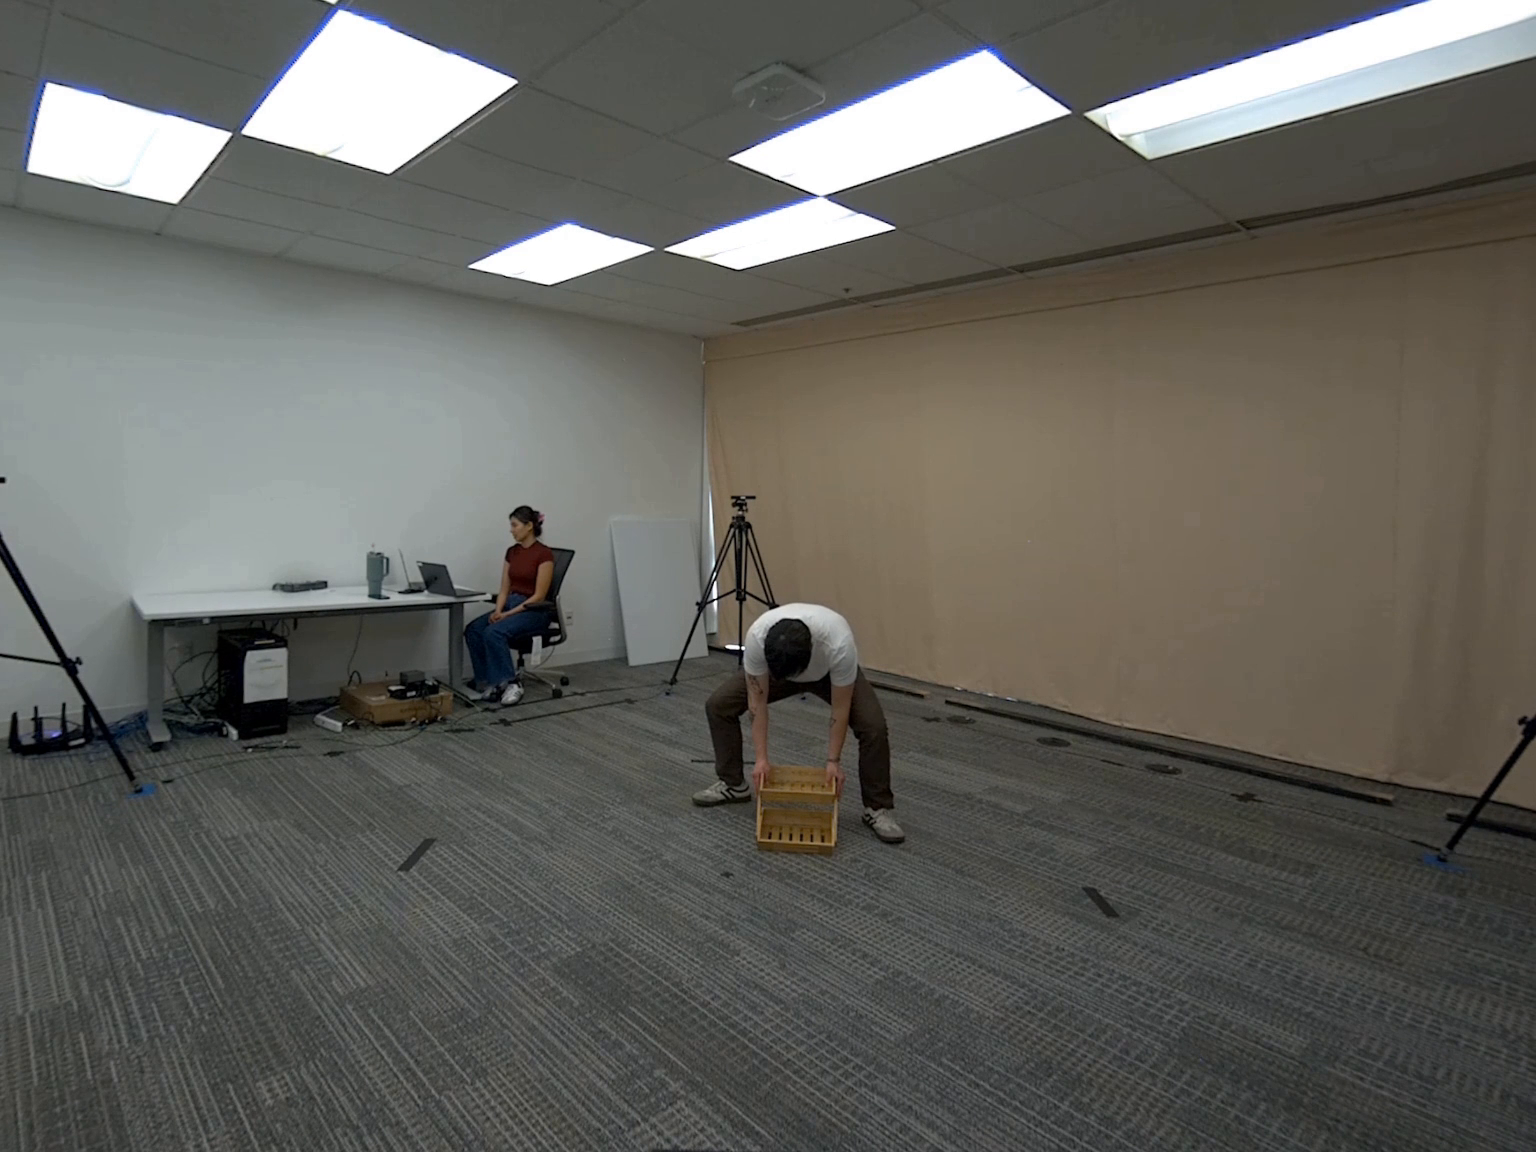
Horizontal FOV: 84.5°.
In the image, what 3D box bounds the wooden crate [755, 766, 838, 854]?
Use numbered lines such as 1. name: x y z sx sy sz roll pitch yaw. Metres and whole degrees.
1. wooden crate: 0.112 0.948 3.435 0.326 0.273 0.301 2 3 4
